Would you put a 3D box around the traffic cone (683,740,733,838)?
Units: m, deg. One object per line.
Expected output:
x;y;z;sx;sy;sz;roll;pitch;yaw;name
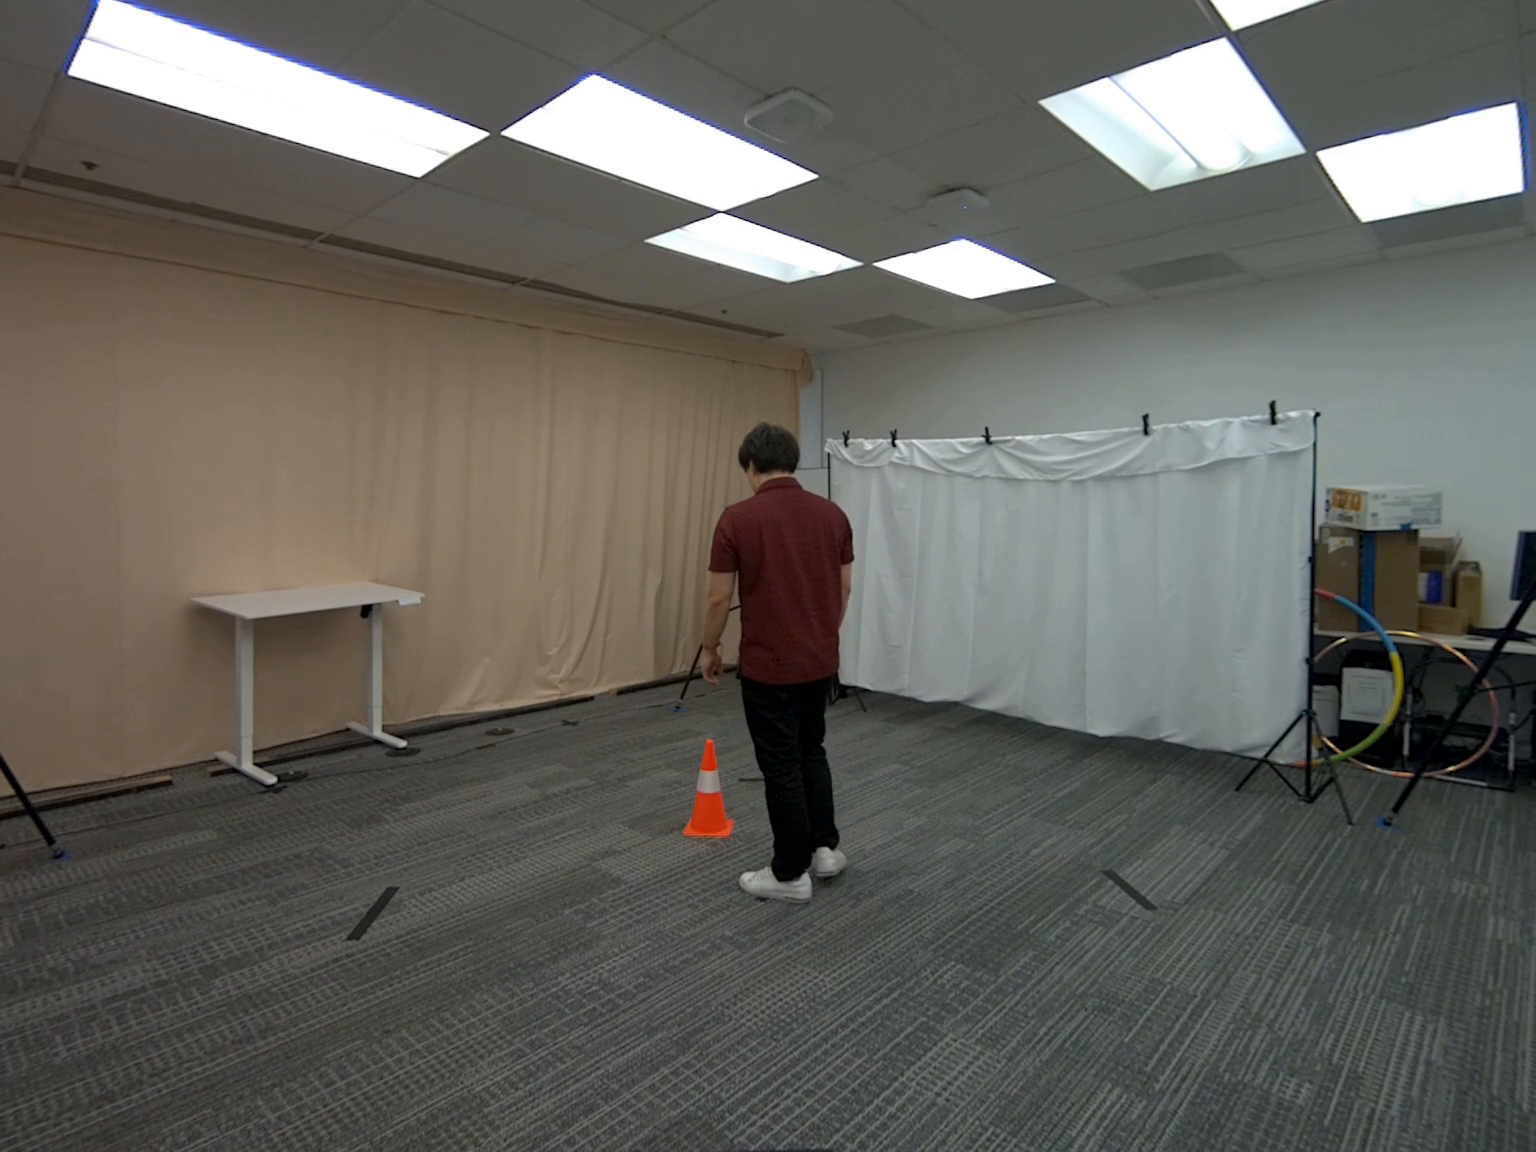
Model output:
-0.263;0.903;3.652;0.207;0.383;0.201;0;3;11;traffic cone
